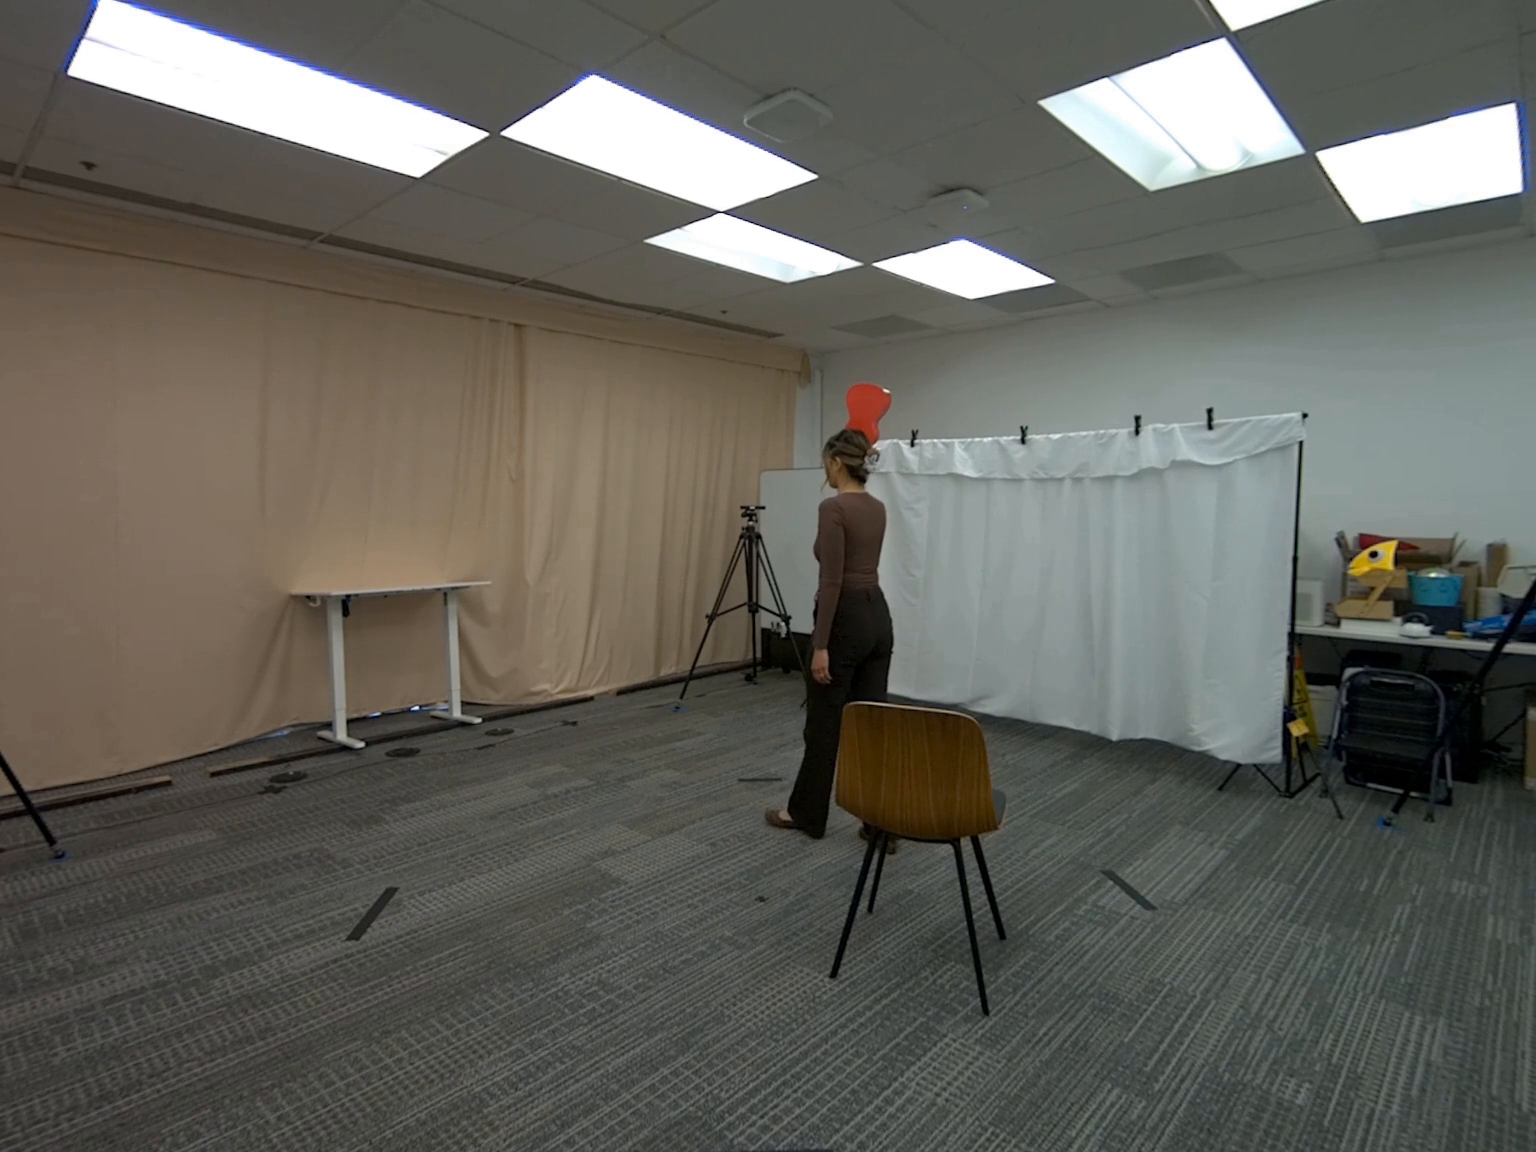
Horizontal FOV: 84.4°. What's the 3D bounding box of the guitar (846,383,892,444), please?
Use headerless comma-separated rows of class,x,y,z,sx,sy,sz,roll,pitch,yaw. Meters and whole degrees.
guitar,0.429,-0.586,3.666,0.199,0.497,0.069,6,3,31
